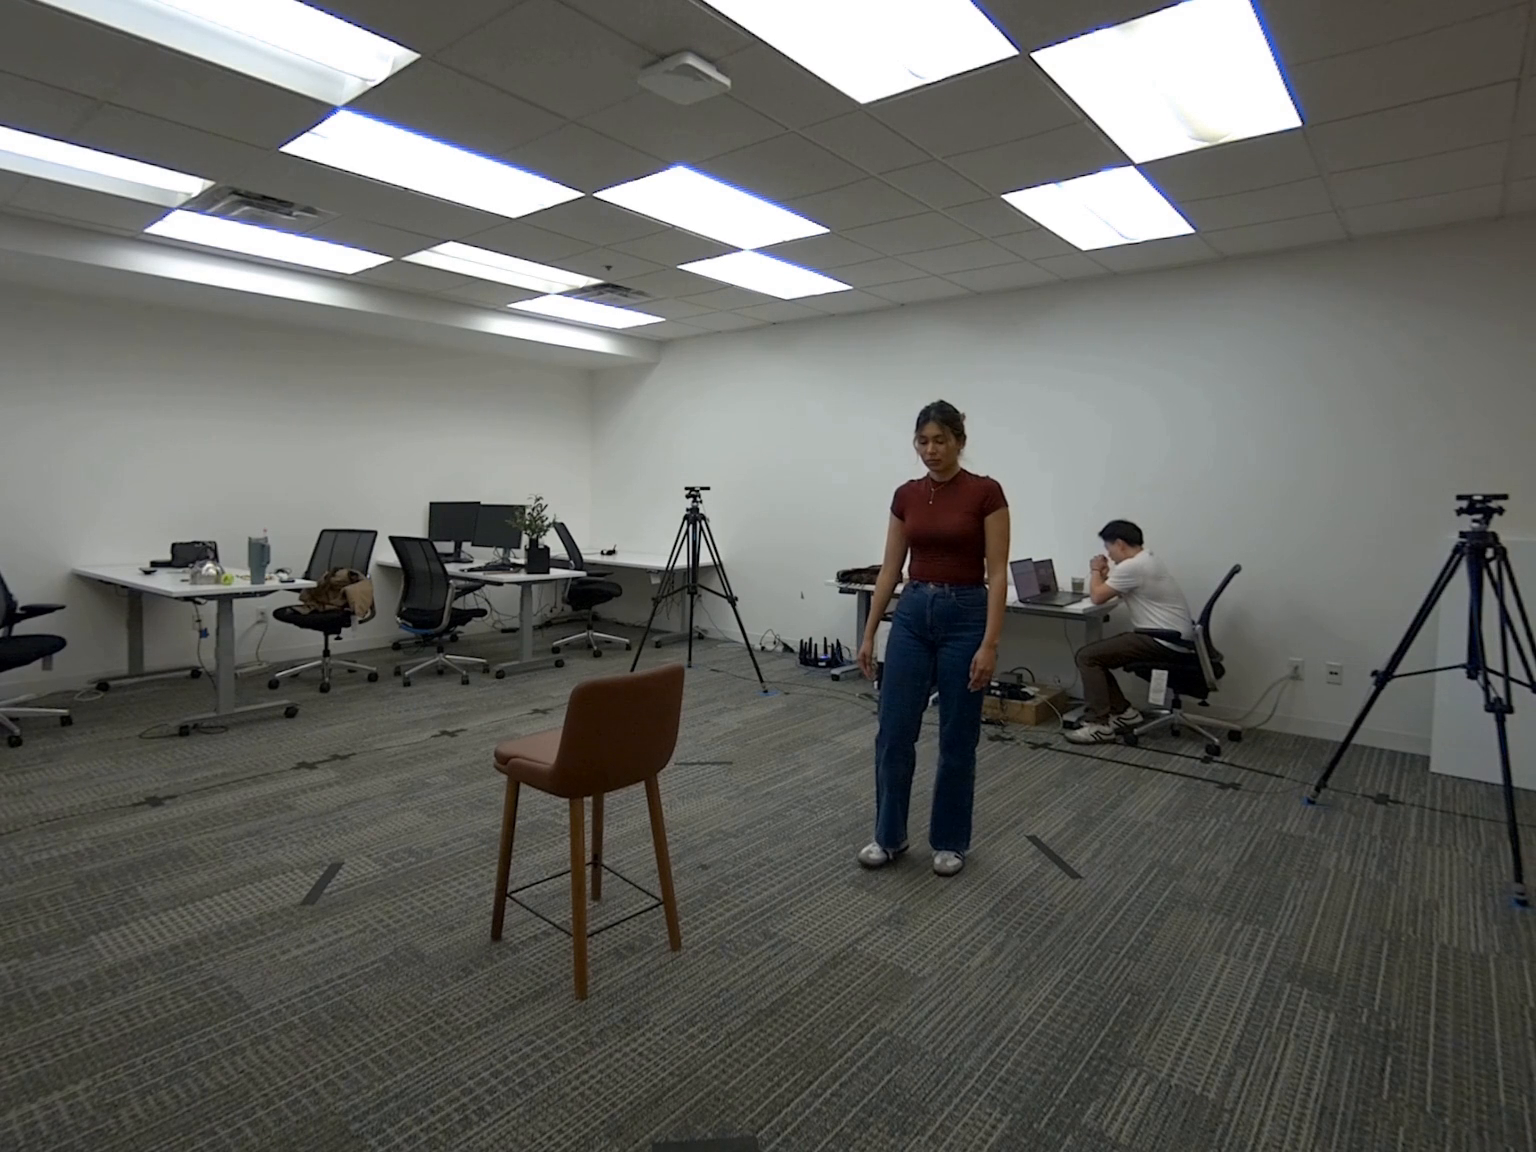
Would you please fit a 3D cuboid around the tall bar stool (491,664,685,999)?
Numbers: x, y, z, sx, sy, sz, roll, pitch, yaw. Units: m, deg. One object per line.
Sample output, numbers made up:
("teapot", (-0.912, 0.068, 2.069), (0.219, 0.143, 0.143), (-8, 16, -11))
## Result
("tall bar stool", (-0.547, 0.681, 2.553), (0.484, 0.886, 0.443), (6, 7, 43))
